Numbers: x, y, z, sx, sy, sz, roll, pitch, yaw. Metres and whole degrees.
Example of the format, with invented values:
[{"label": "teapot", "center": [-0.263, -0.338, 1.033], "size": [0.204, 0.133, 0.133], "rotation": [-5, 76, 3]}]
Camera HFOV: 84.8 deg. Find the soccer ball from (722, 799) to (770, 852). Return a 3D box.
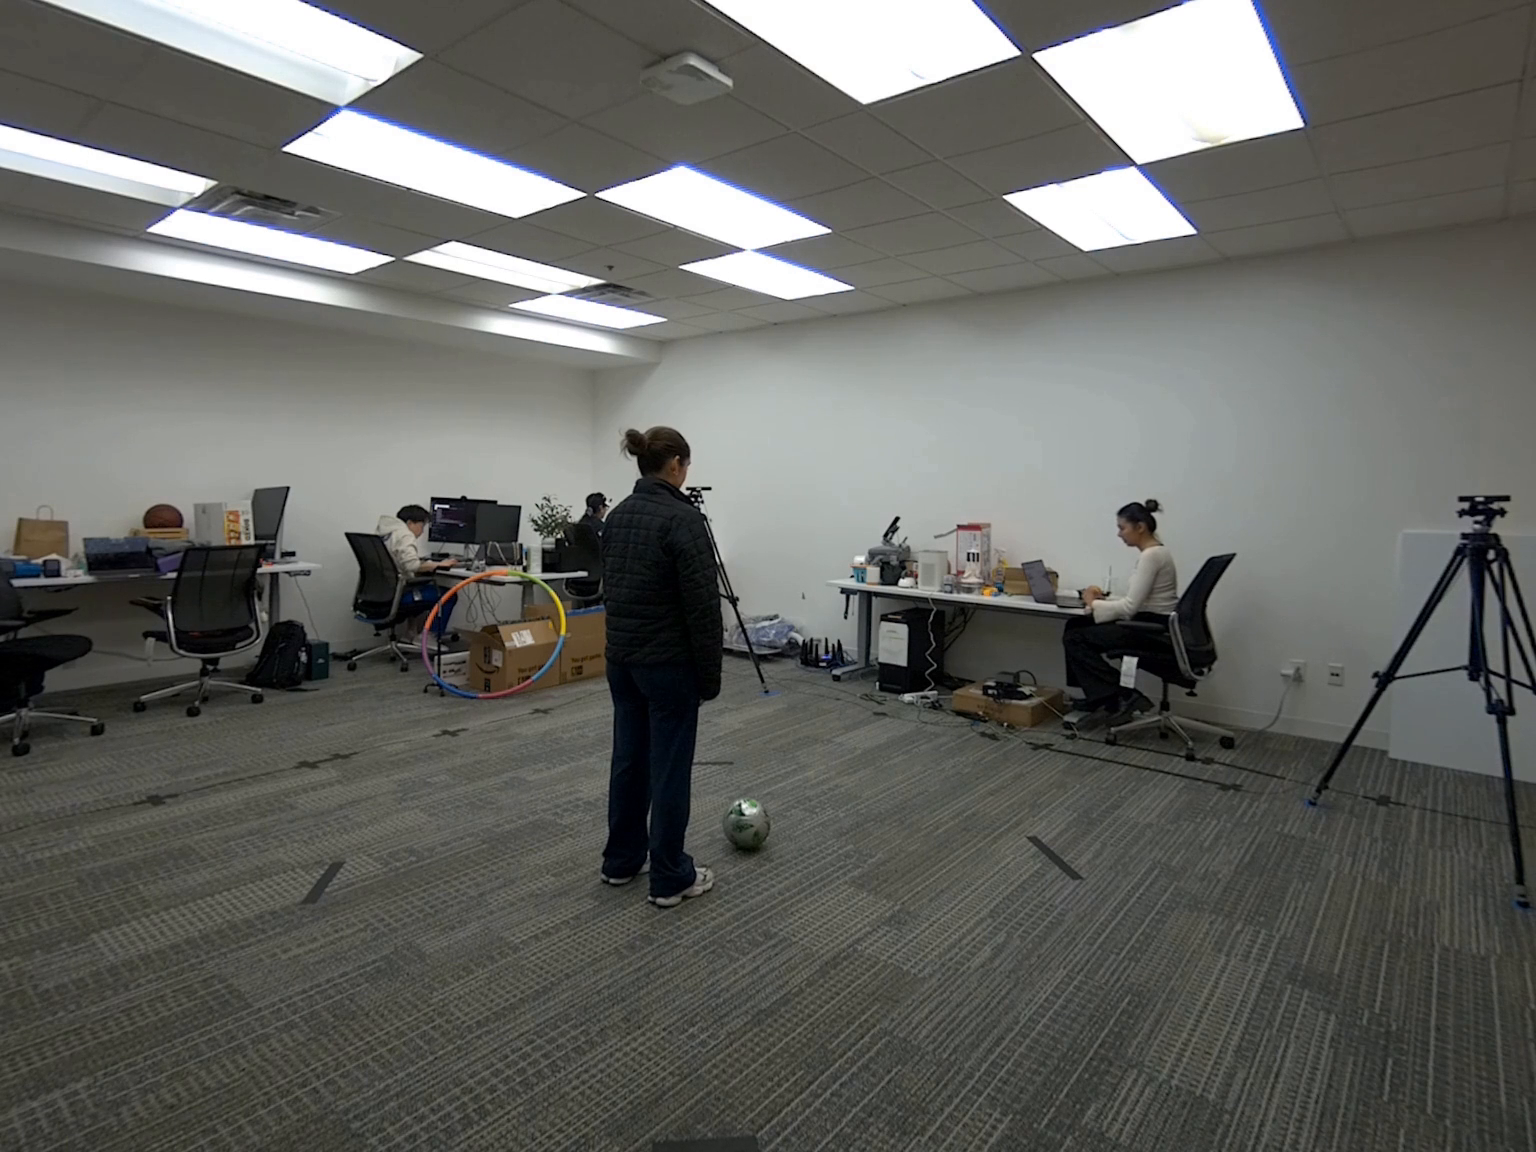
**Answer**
[{"label": "soccer ball", "center": [-0.091, 0.952, 3.298], "size": [0.187, 0.187, 0.188], "rotation": [1, 4, -2]}]
